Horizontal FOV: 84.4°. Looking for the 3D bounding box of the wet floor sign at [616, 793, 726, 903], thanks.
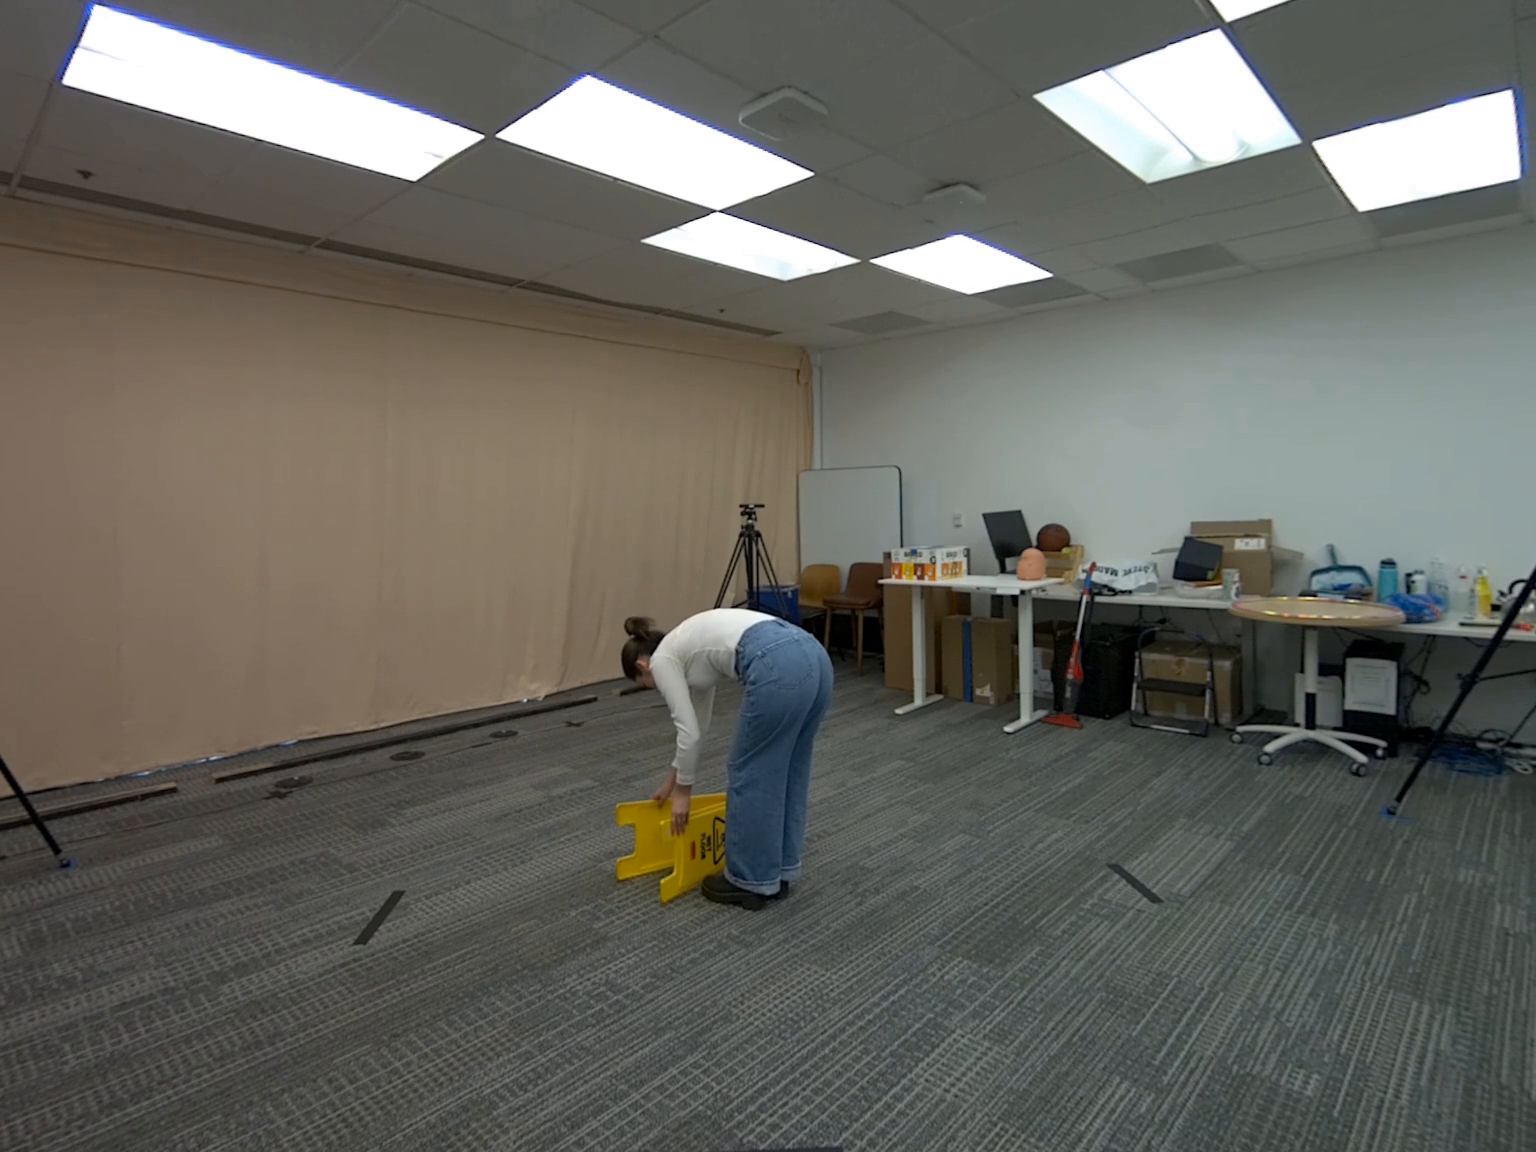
[{"bbox_3d":[-0.232,0.987,3.238,0.626,0.282,0.299,-2,1,-40],"label":"wet floor sign"}]
